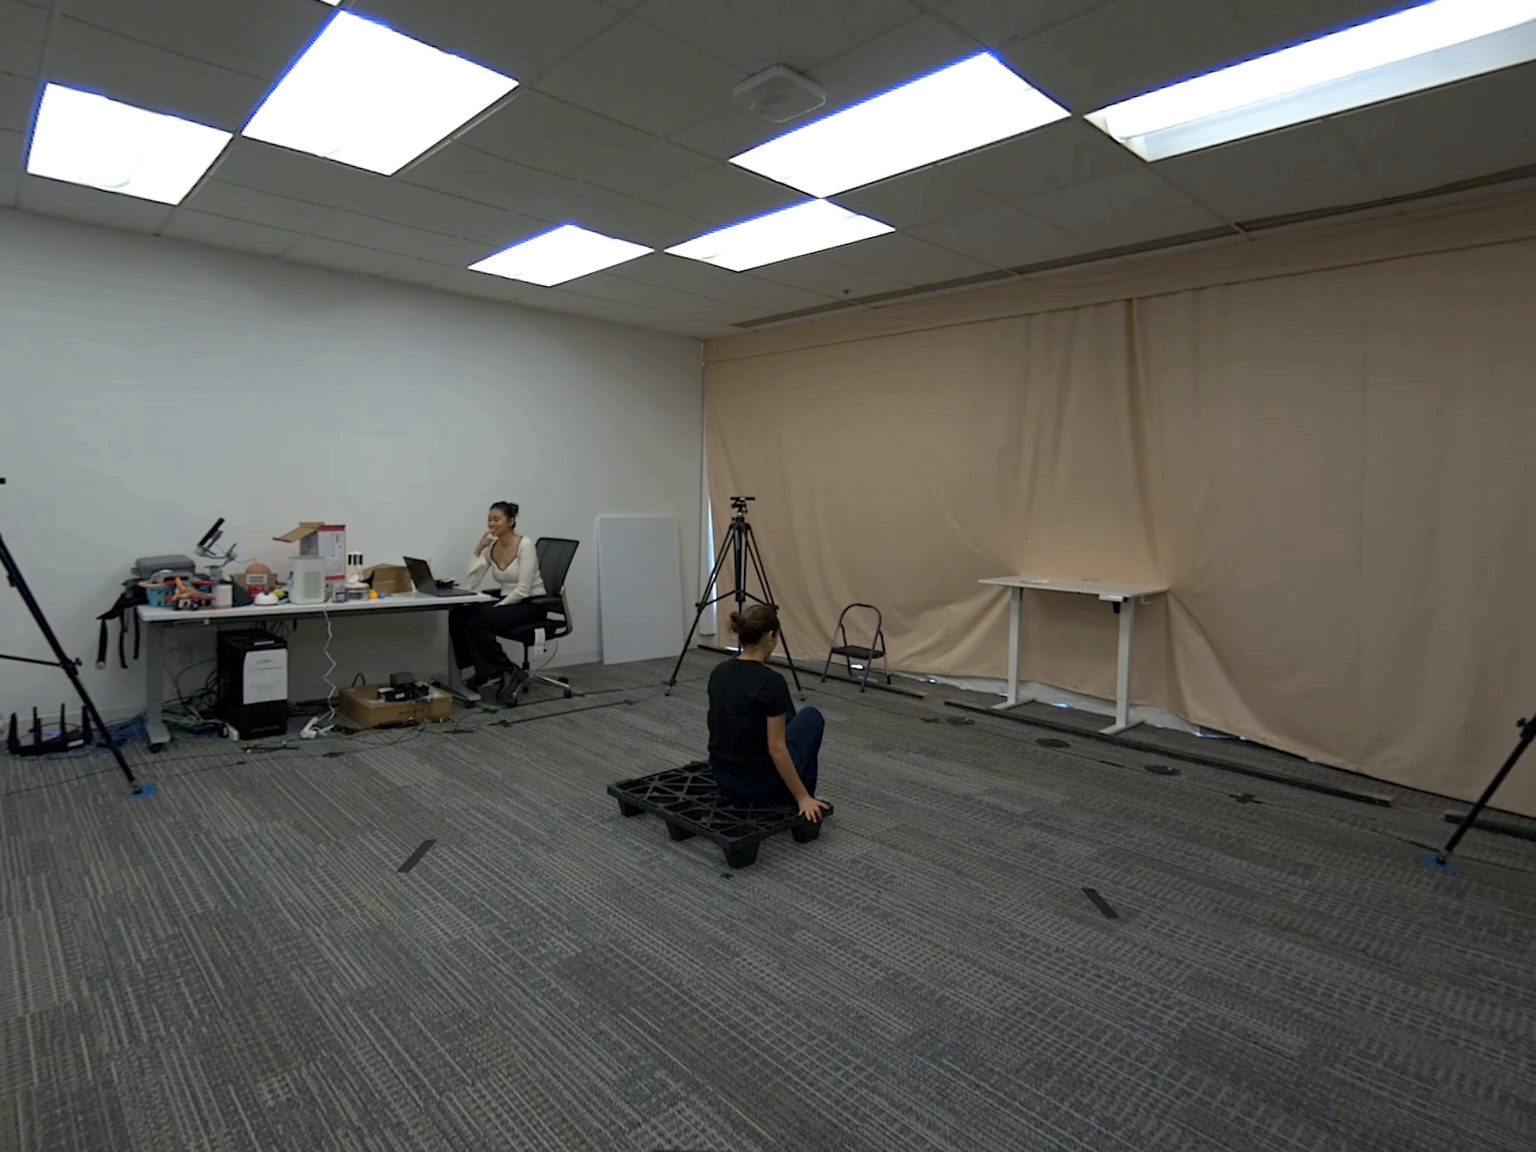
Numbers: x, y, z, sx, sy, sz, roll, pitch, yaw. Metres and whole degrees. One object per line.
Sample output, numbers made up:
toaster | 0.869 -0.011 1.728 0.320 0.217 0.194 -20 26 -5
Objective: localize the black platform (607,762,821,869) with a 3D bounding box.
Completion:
black platform | -0.224 0.998 3.554 0.591 0.143 0.826 -5 8 -45
